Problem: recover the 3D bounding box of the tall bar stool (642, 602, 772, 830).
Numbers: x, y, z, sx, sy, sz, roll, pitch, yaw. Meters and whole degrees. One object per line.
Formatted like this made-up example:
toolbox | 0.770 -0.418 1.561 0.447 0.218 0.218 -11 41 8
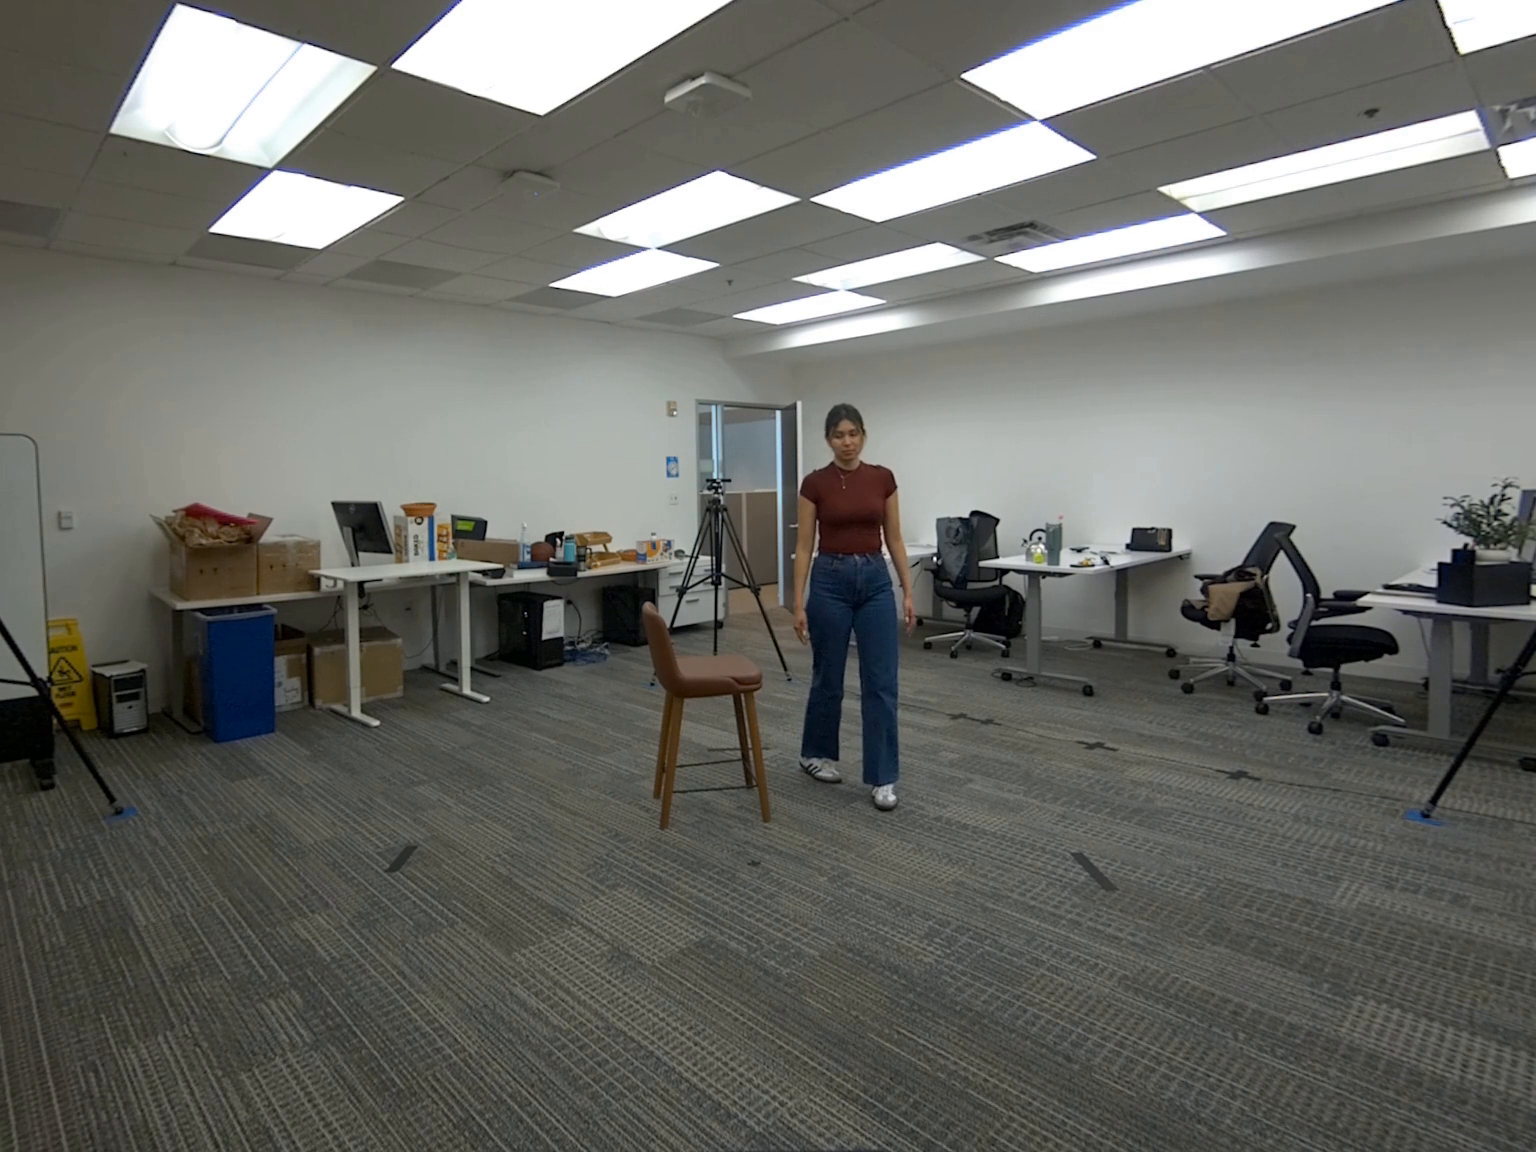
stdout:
tall bar stool | -0.265 0.559 3.618 0.463 0.887 0.463 -3 4 -11
